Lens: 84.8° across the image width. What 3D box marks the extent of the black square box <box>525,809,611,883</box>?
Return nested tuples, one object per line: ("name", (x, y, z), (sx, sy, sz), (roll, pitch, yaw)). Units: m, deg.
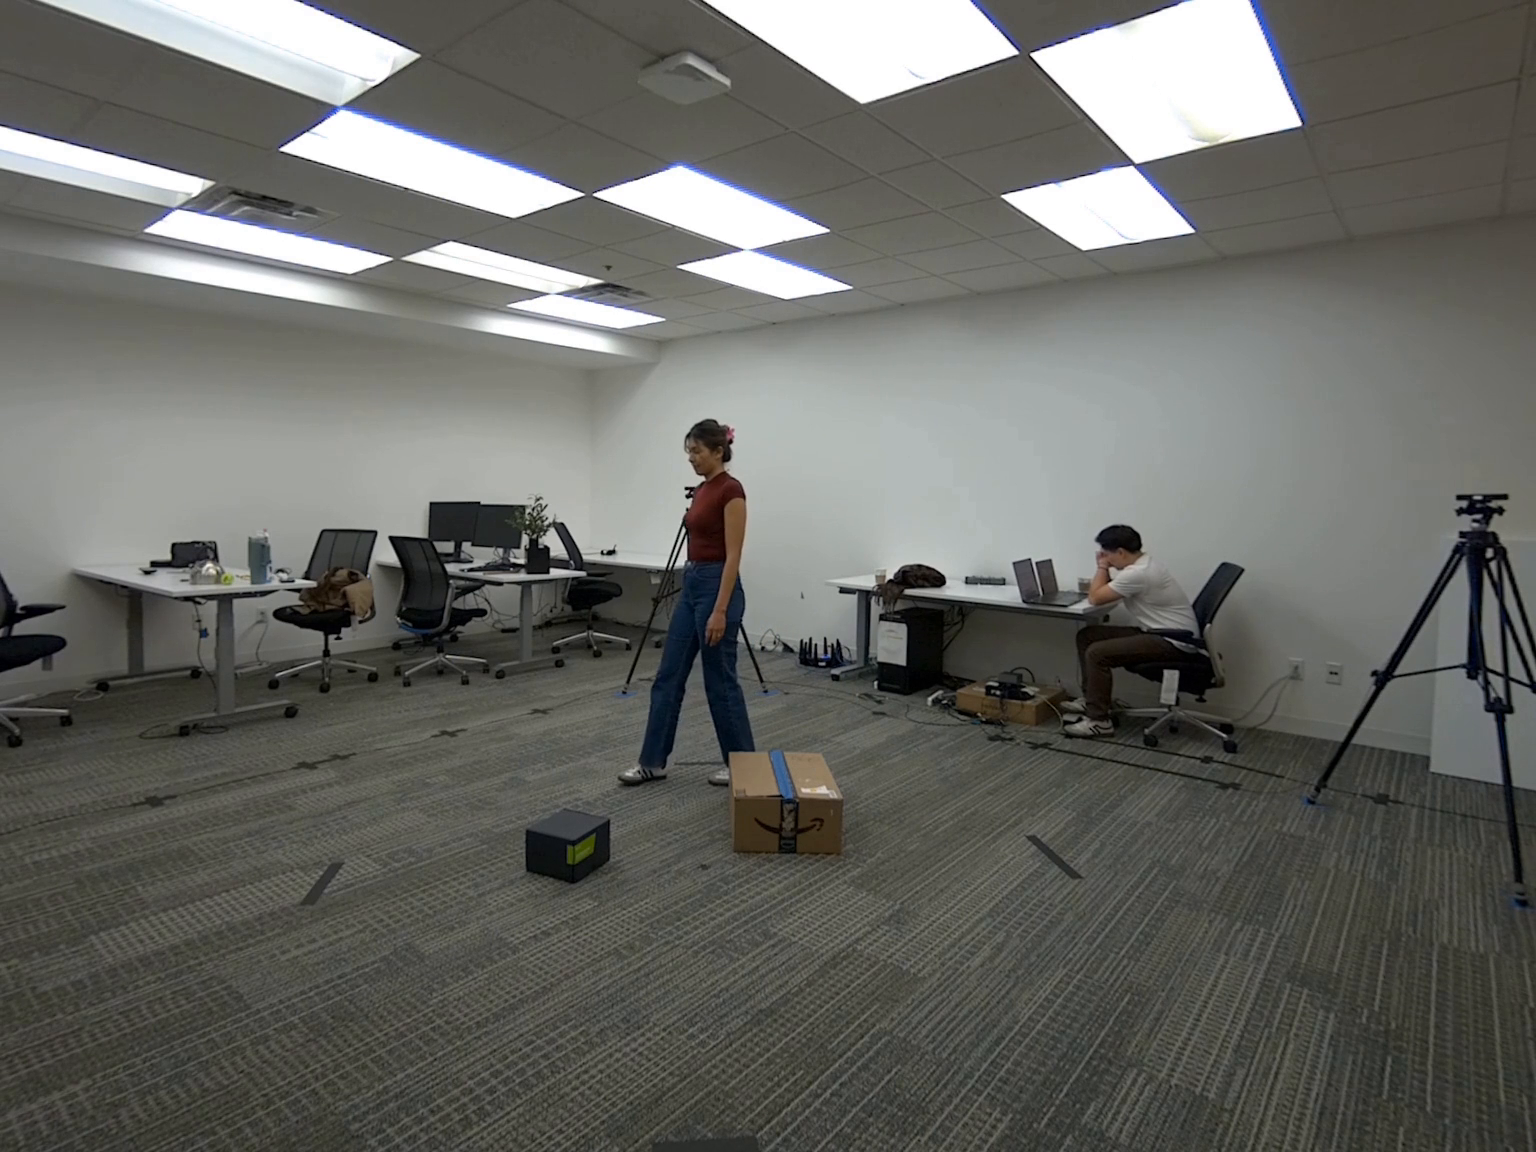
("black square box", (-0.737, 0.972, 3.103), (0.222, 0.155, 0.223), (3, 5, 25))
